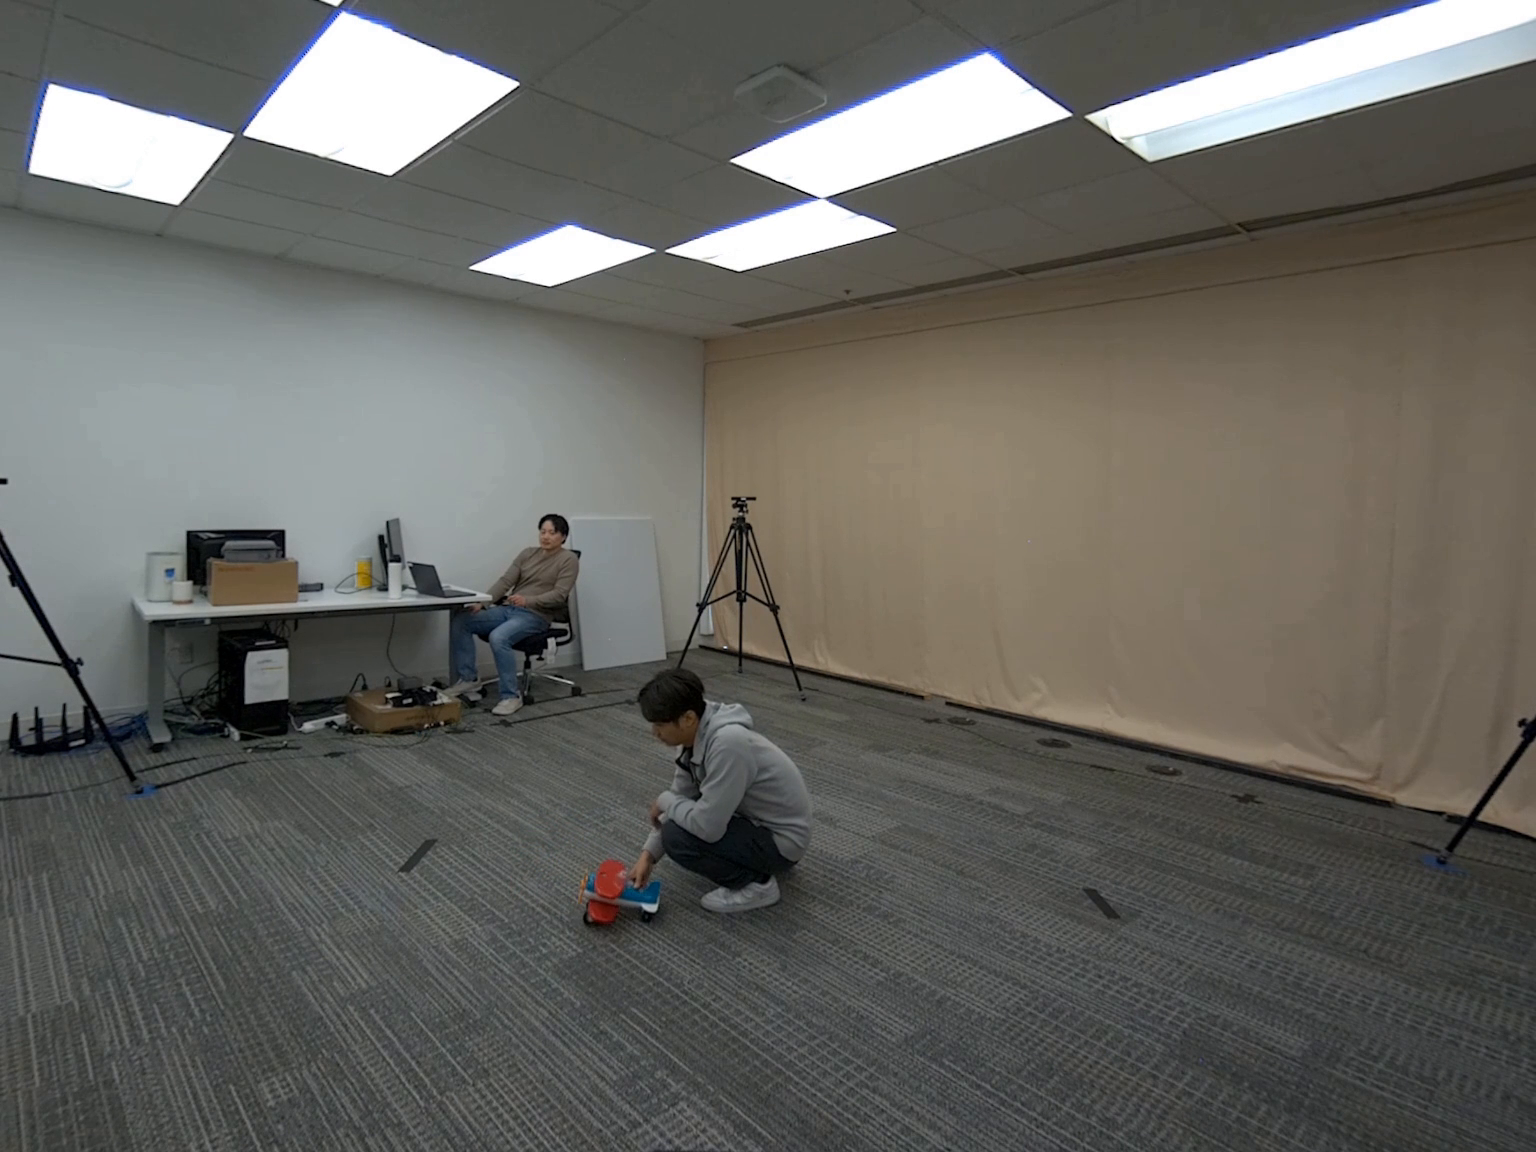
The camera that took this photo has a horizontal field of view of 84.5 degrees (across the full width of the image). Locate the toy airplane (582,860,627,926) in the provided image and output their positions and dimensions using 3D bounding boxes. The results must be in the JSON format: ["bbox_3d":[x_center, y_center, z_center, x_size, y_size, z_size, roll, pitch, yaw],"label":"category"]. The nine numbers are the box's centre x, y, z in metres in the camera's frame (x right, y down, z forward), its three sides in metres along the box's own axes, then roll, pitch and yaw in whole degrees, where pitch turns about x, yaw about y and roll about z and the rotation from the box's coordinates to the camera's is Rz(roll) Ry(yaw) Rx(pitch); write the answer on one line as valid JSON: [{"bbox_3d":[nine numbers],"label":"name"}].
[{"bbox_3d":[-0.498,1.051,2.785,0.254,0.156,0.257,-2,6,-30],"label":"toy airplane"}]
